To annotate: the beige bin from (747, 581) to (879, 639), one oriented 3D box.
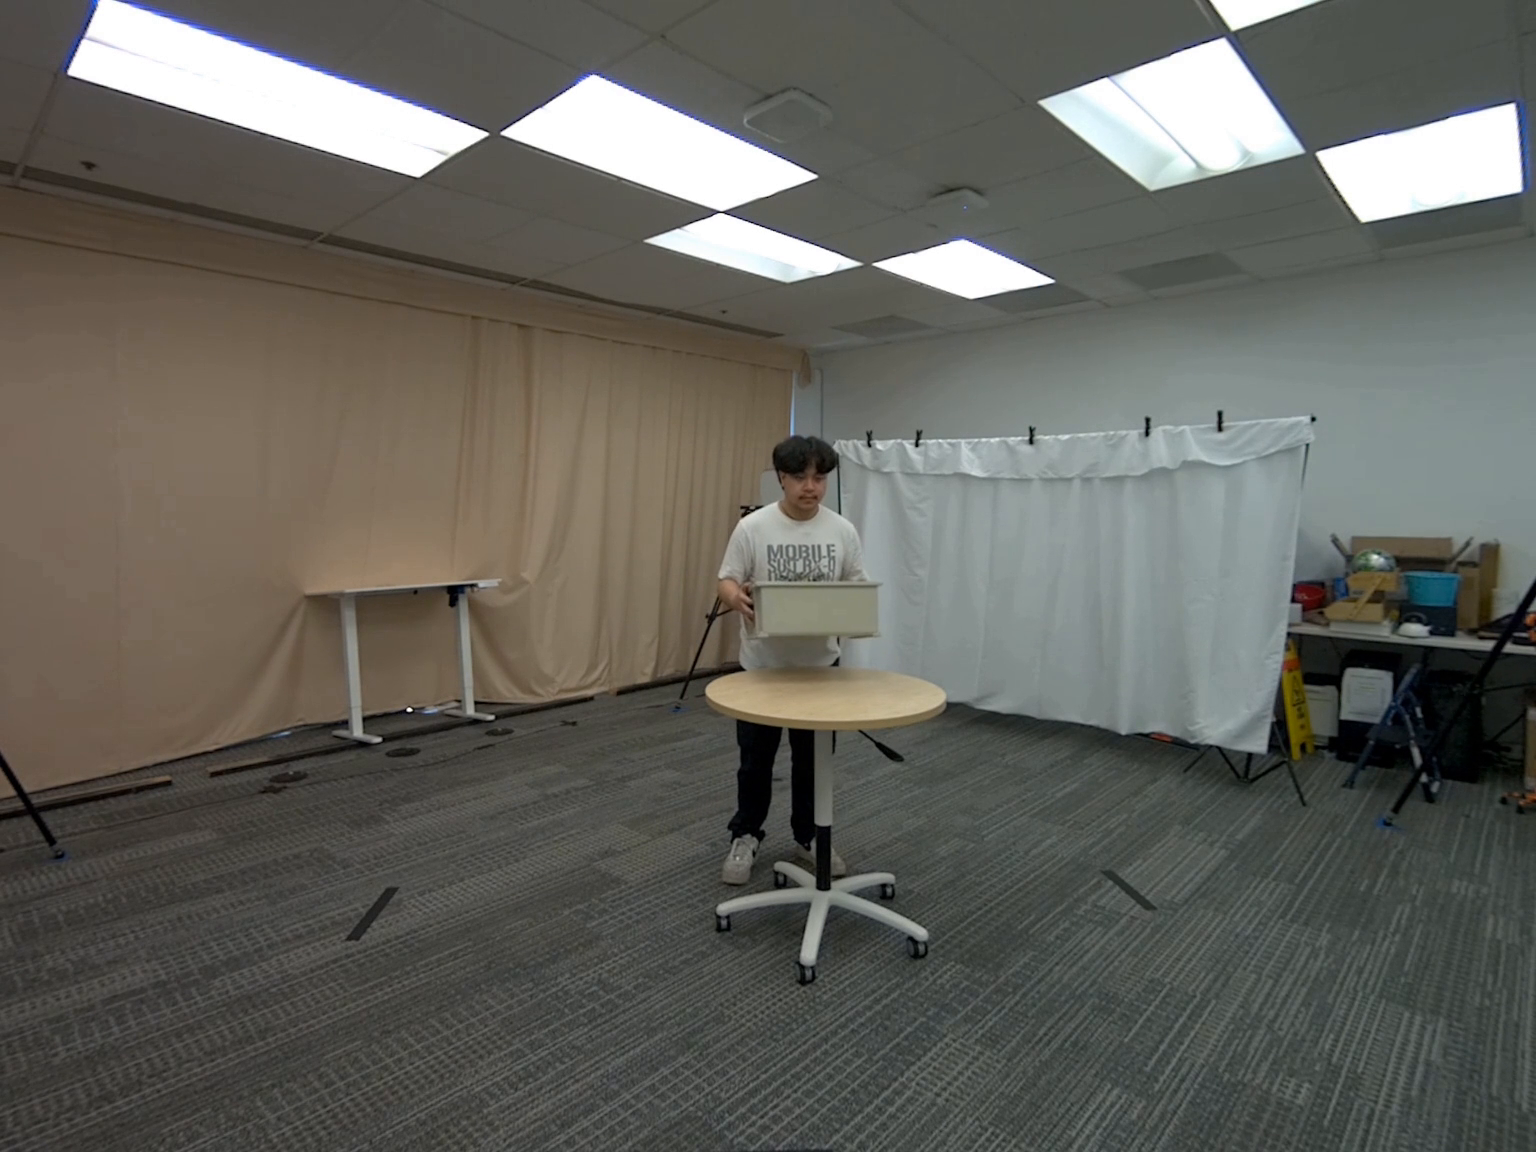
[{"bbox_3d":[0.148,0.142,2.914,0.420,0.189,0.379,5,-4,-6],"label":"beige bin"}]
